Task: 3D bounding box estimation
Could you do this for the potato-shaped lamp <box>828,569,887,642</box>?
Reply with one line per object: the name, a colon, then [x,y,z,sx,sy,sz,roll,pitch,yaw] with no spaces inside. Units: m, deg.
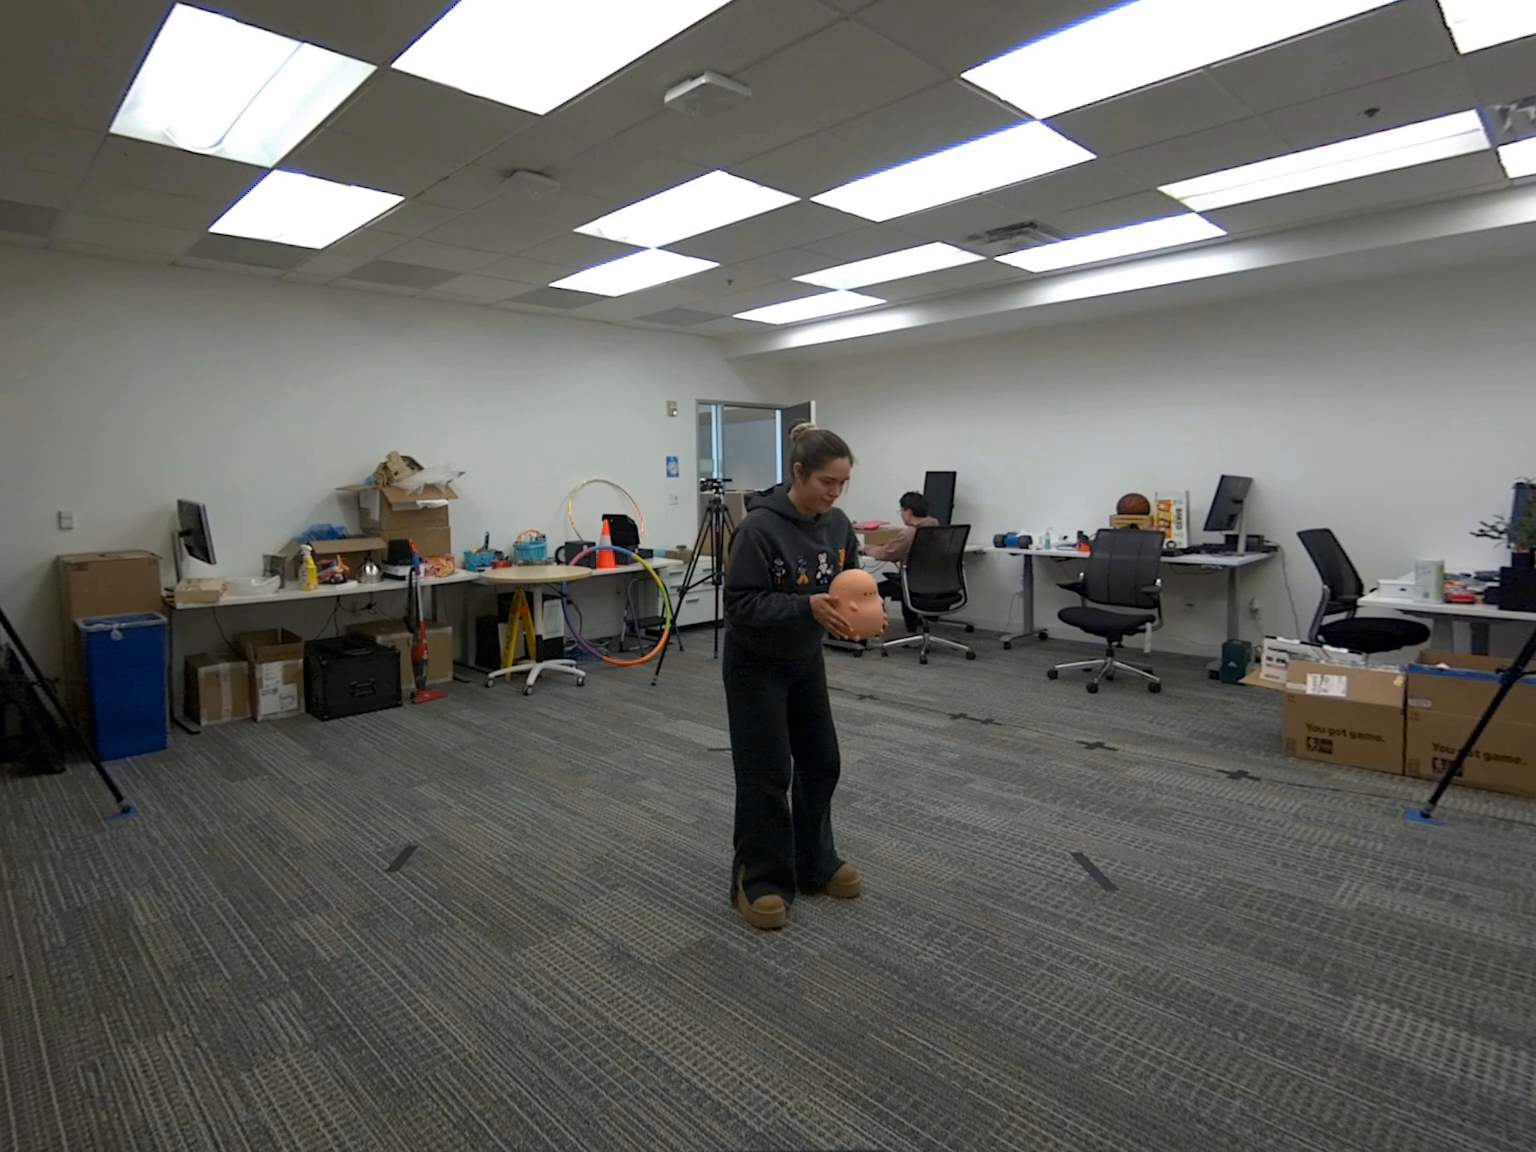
potato-shaped lamp: [0.250,0.085,2.542,0.161,0.196,0.177,-8,16,-36]
